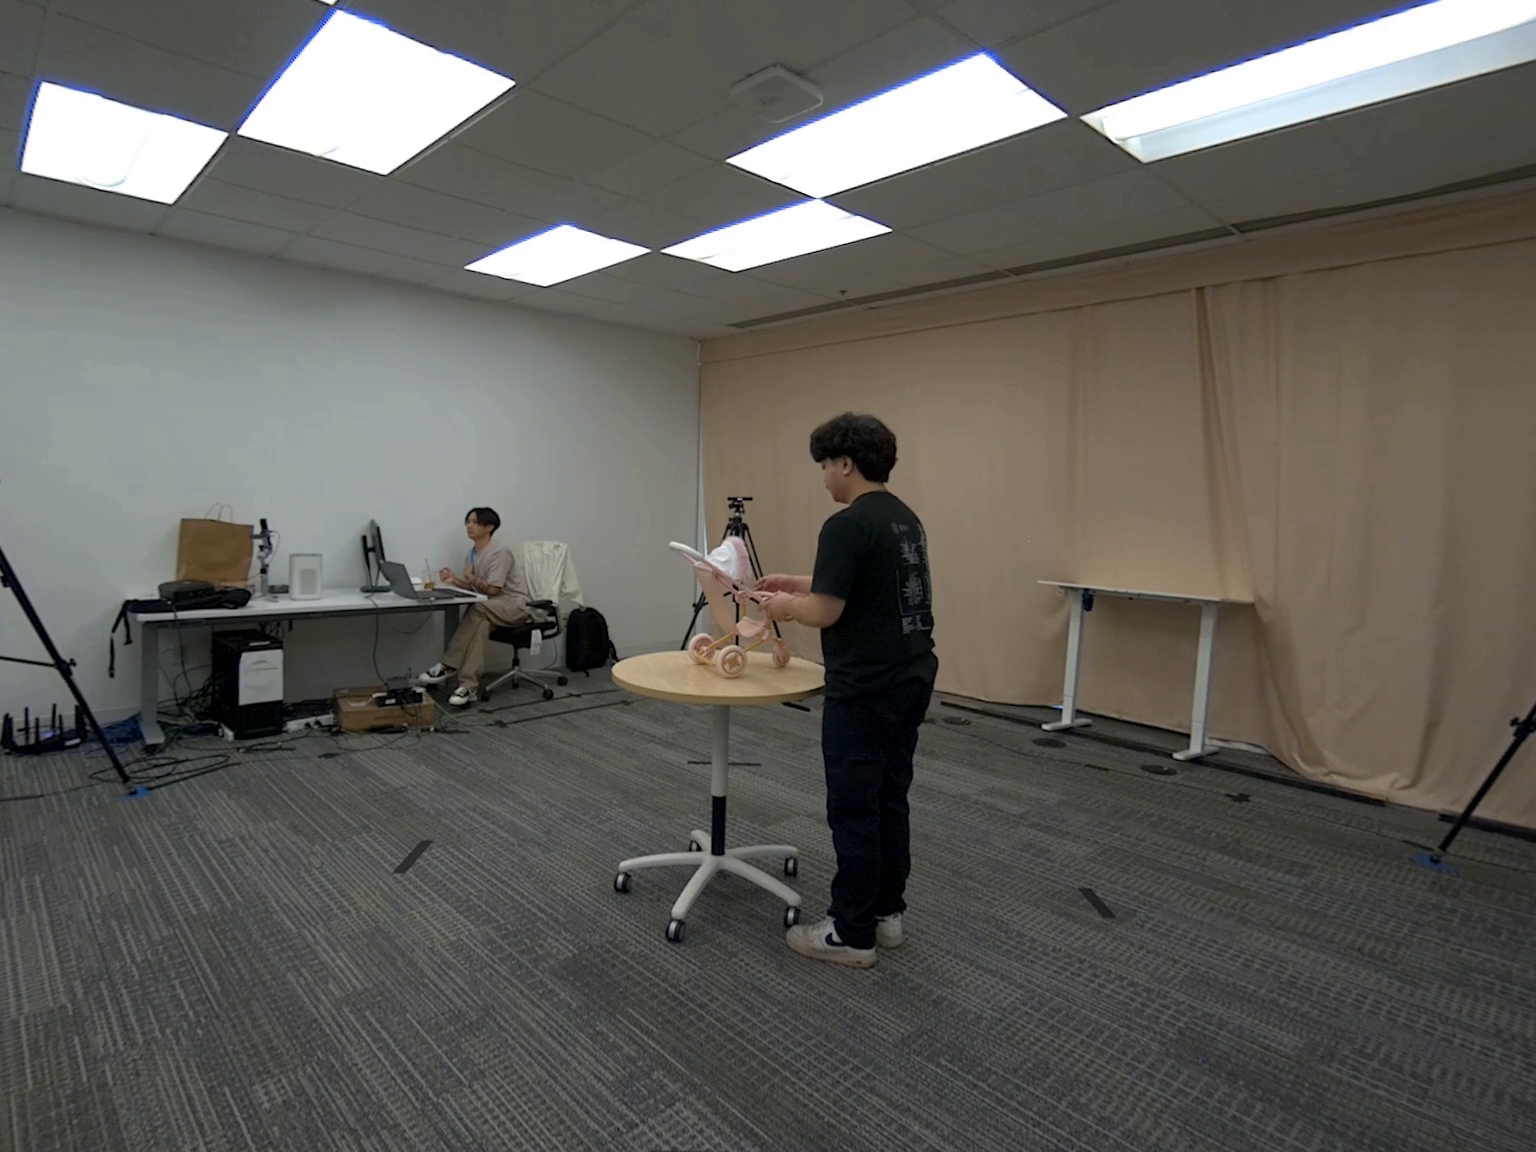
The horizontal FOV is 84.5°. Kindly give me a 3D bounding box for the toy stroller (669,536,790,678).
[{"bbox_3d":[-0.118,0.104,2.932,0.337,0.531,0.287,-14,10,-21],"label":"toy stroller"}]
